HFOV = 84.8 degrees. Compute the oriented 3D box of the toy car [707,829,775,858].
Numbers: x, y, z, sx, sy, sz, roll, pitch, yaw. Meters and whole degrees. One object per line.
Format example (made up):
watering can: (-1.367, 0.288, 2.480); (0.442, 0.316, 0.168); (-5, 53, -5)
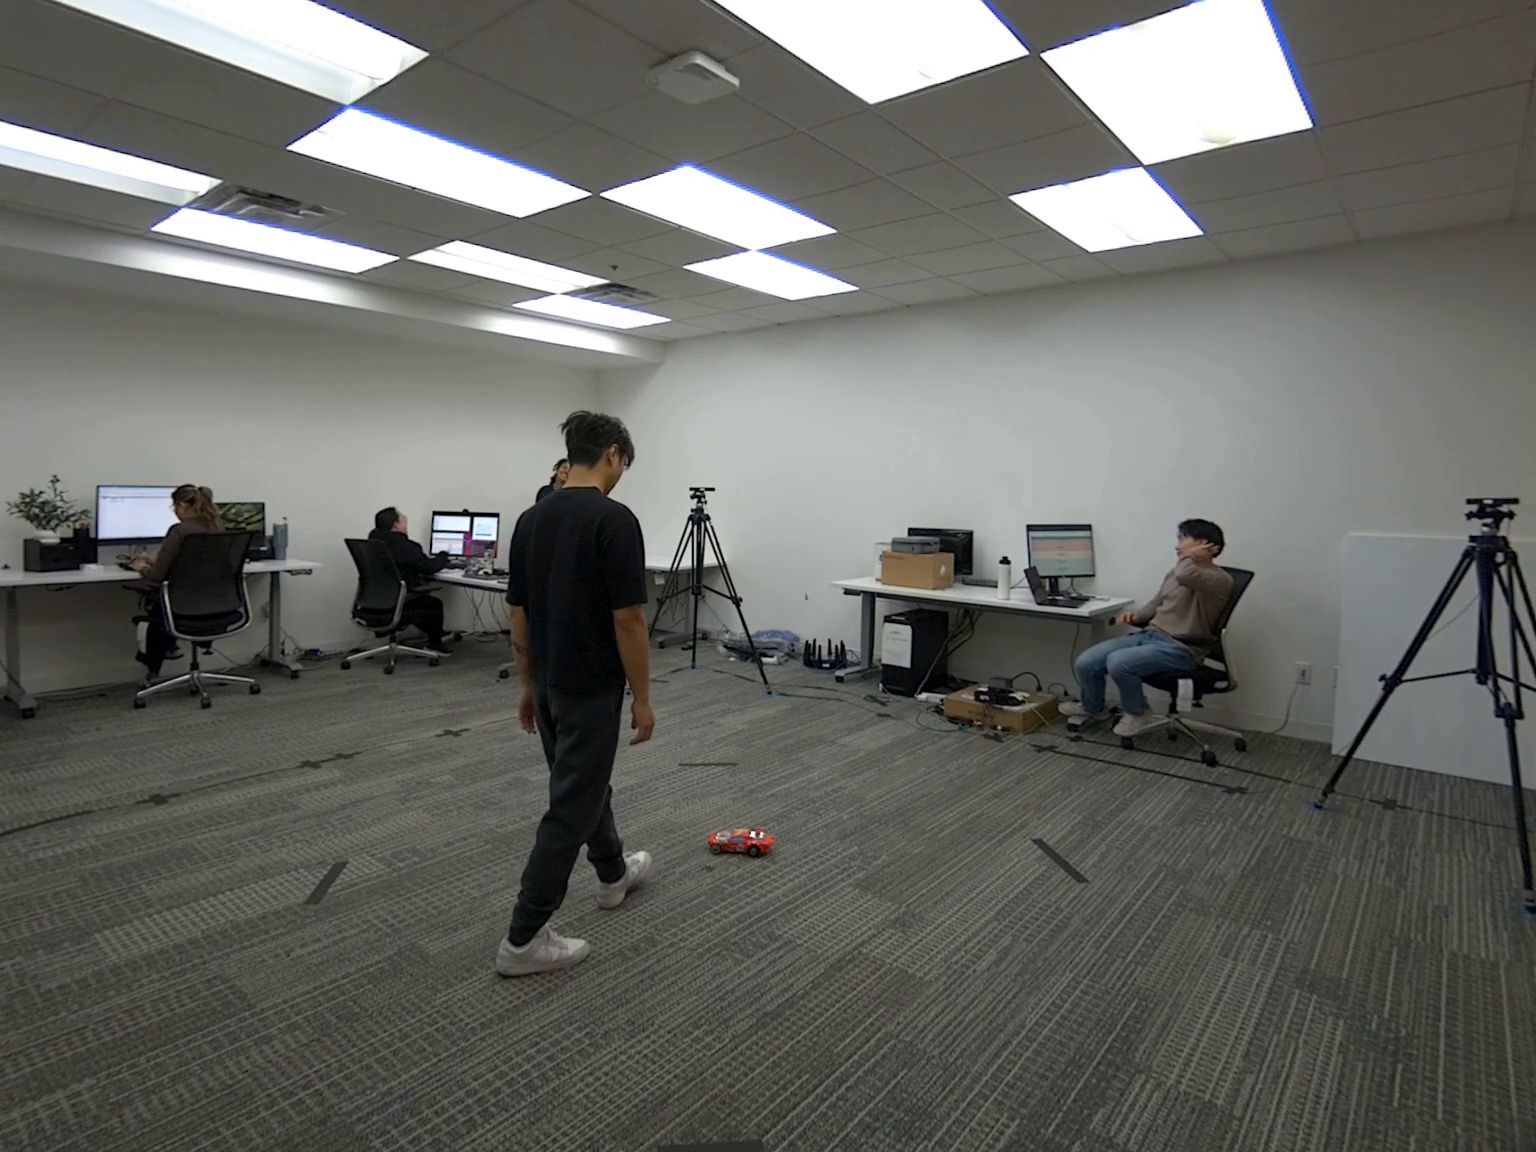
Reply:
toy car: (-0.111, 1.021, 3.270); (0.257, 0.083, 0.129); (-8, 3, 9)
